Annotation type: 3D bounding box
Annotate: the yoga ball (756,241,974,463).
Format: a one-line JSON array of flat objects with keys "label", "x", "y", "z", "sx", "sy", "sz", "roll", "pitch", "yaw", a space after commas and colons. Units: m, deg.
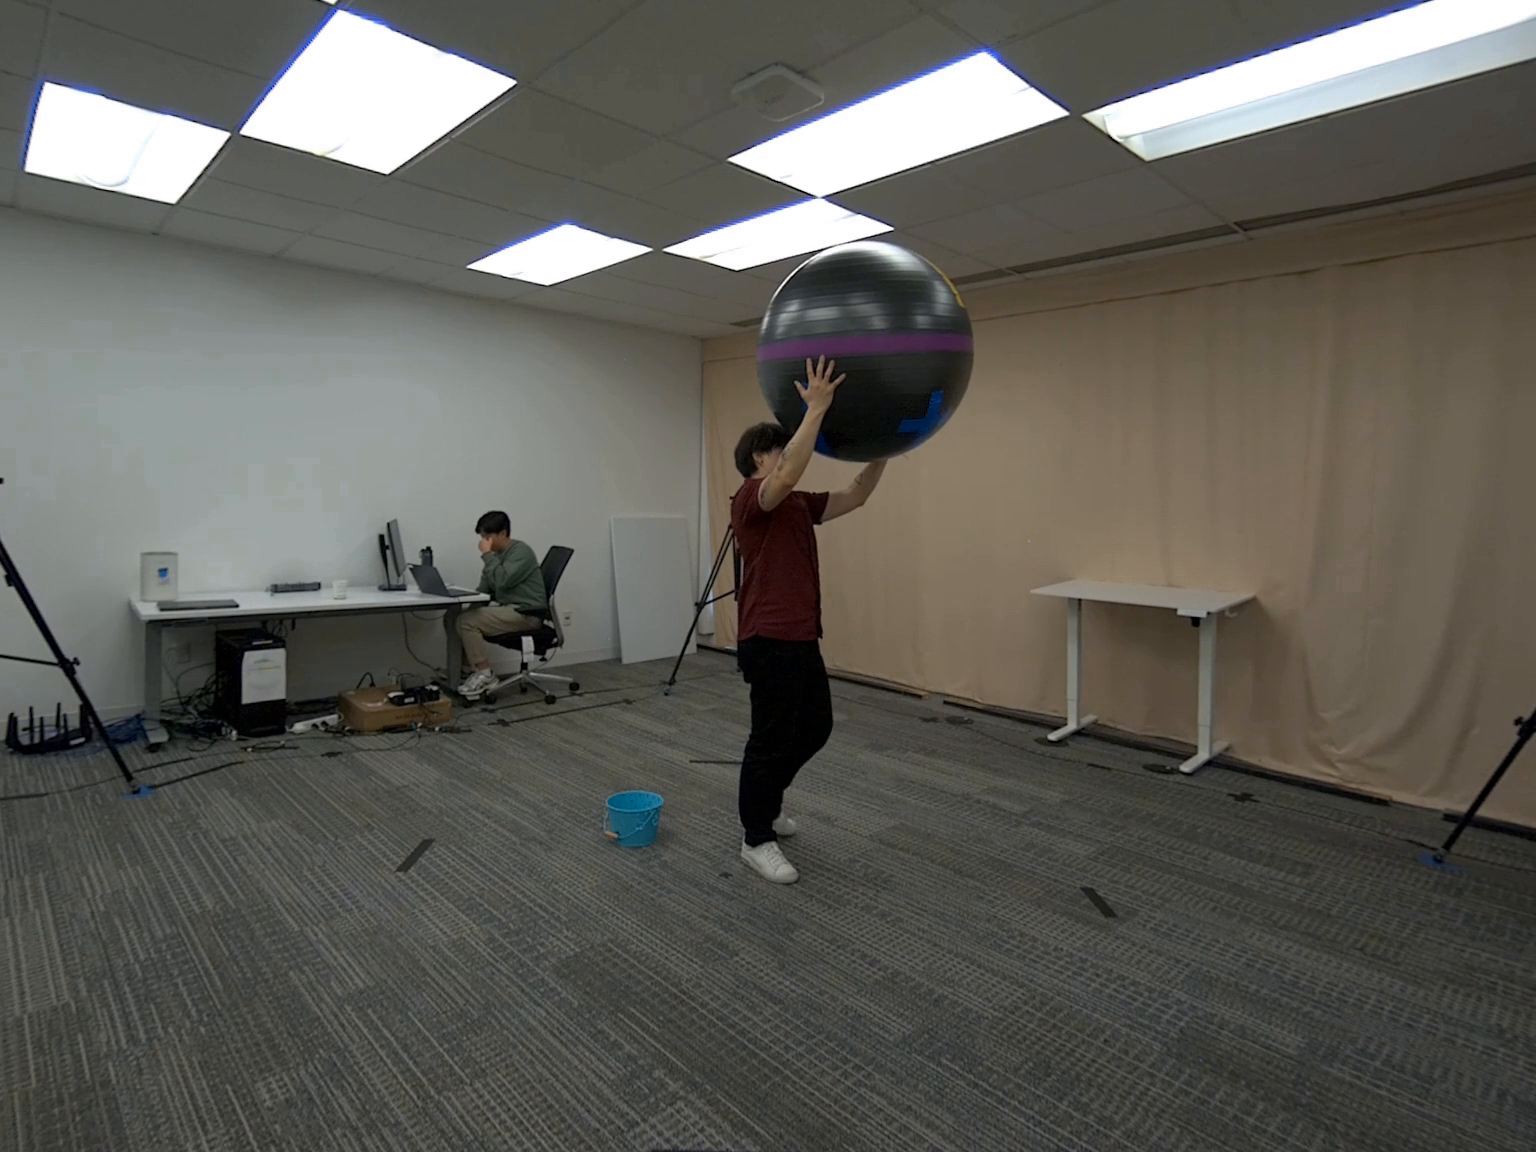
[{"label": "yoga ball", "x": 0.336, "y": -0.778, "z": 2.997, "sx": 0.757, "sy": 0.756, "sz": 0.761, "roll": 1, "pitch": 4, "yaw": -1}]
